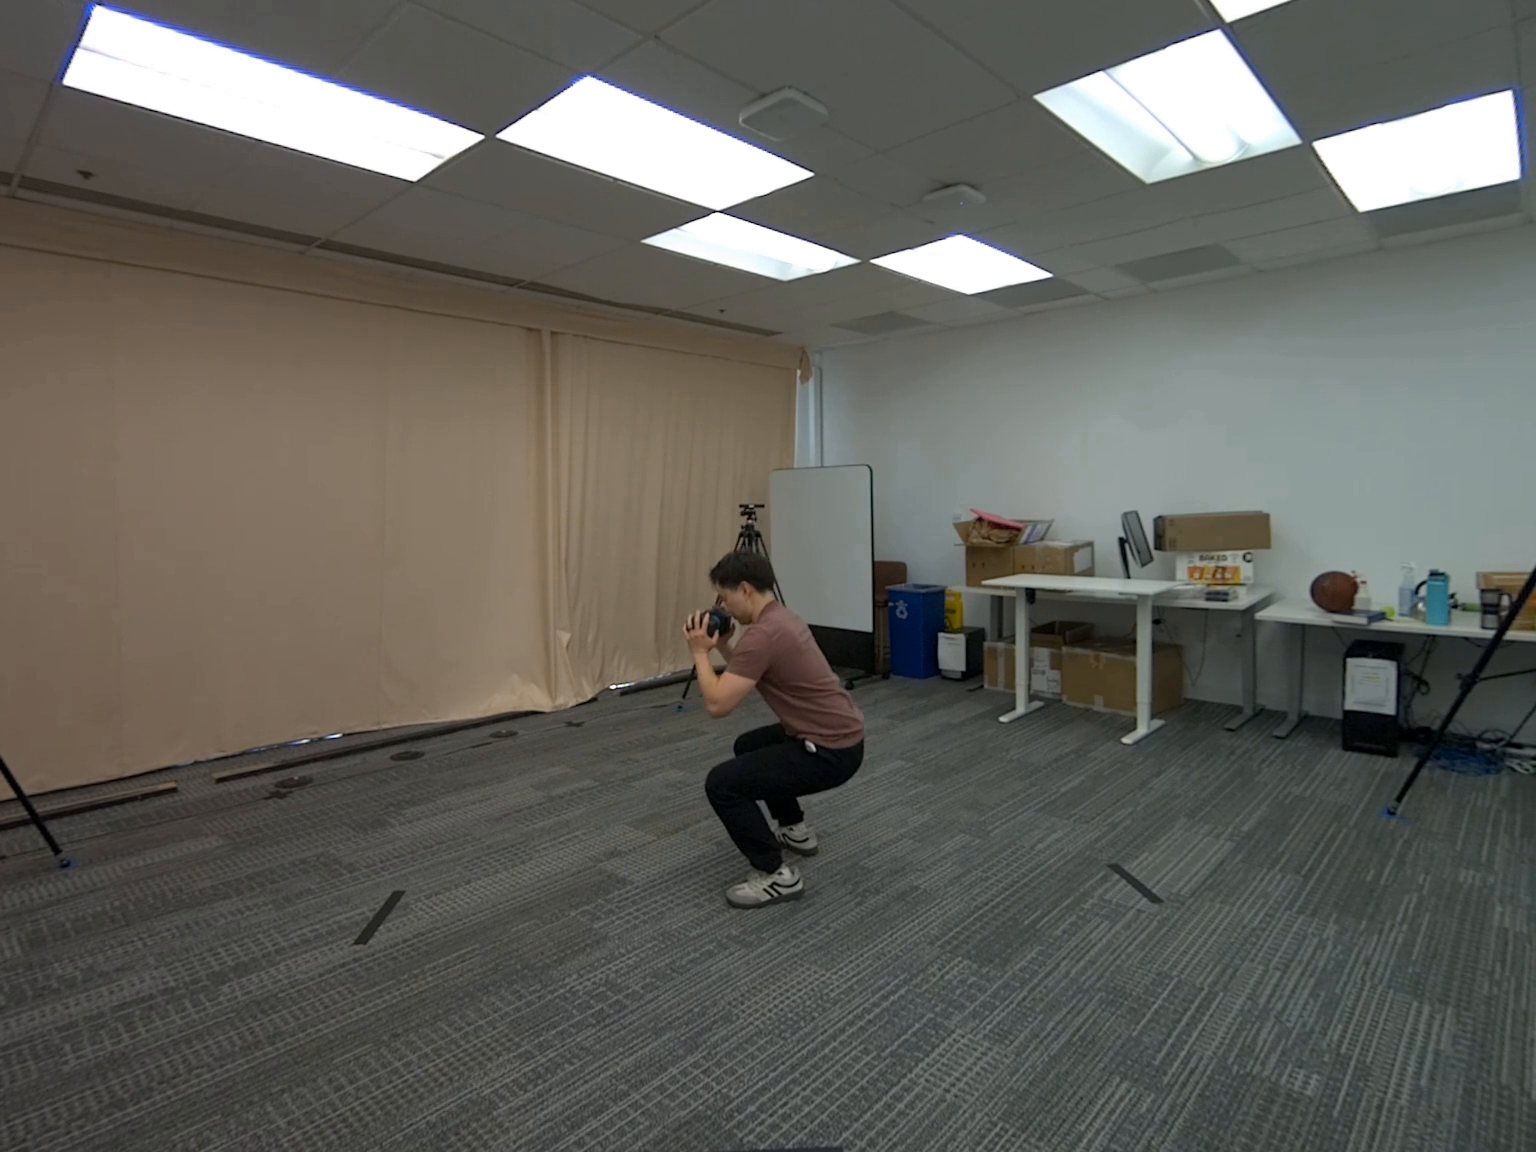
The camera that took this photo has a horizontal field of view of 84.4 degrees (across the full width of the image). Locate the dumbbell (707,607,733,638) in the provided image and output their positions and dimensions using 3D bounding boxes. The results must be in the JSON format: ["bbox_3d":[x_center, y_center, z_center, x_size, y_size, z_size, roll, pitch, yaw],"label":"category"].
[{"bbox_3d":[-0.220,0.180,3.221,0.124,0.109,0.290,34,9,7],"label":"dumbbell"}]
